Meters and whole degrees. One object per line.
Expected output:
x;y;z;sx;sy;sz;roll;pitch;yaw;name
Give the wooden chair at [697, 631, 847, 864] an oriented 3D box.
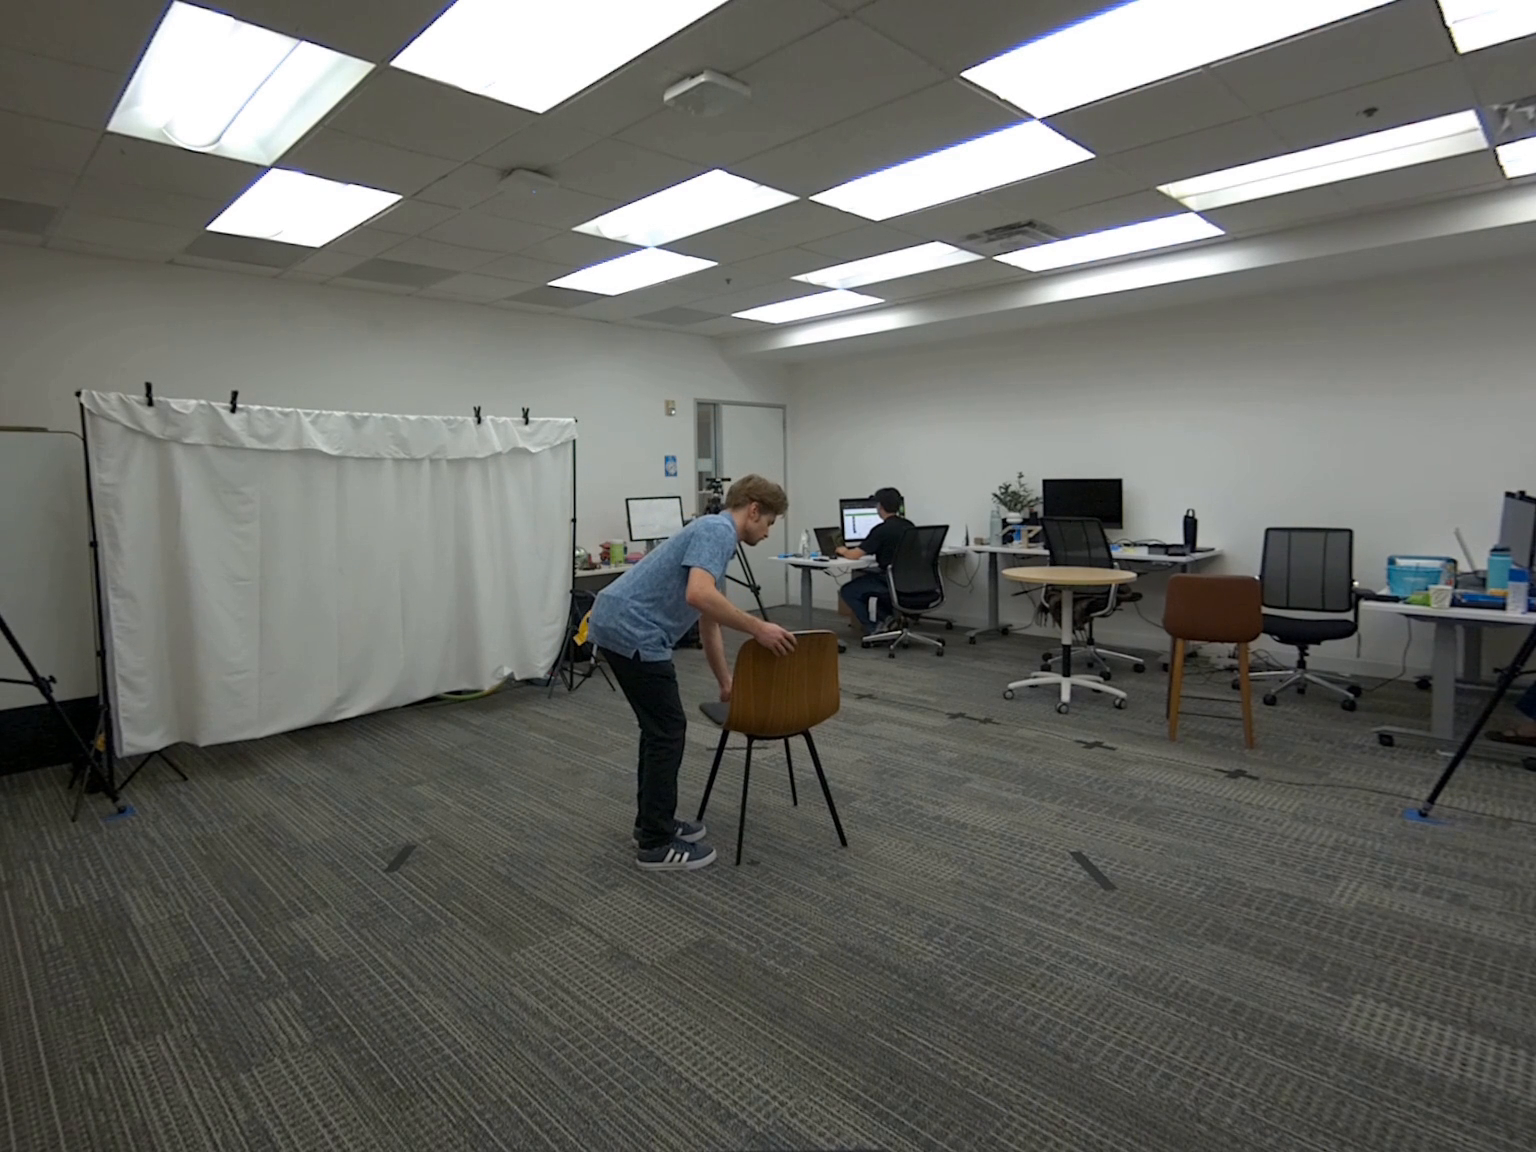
-0.002;0.585;3.345;0.469;0.871;0.537;-3;9;-22;wooden chair
